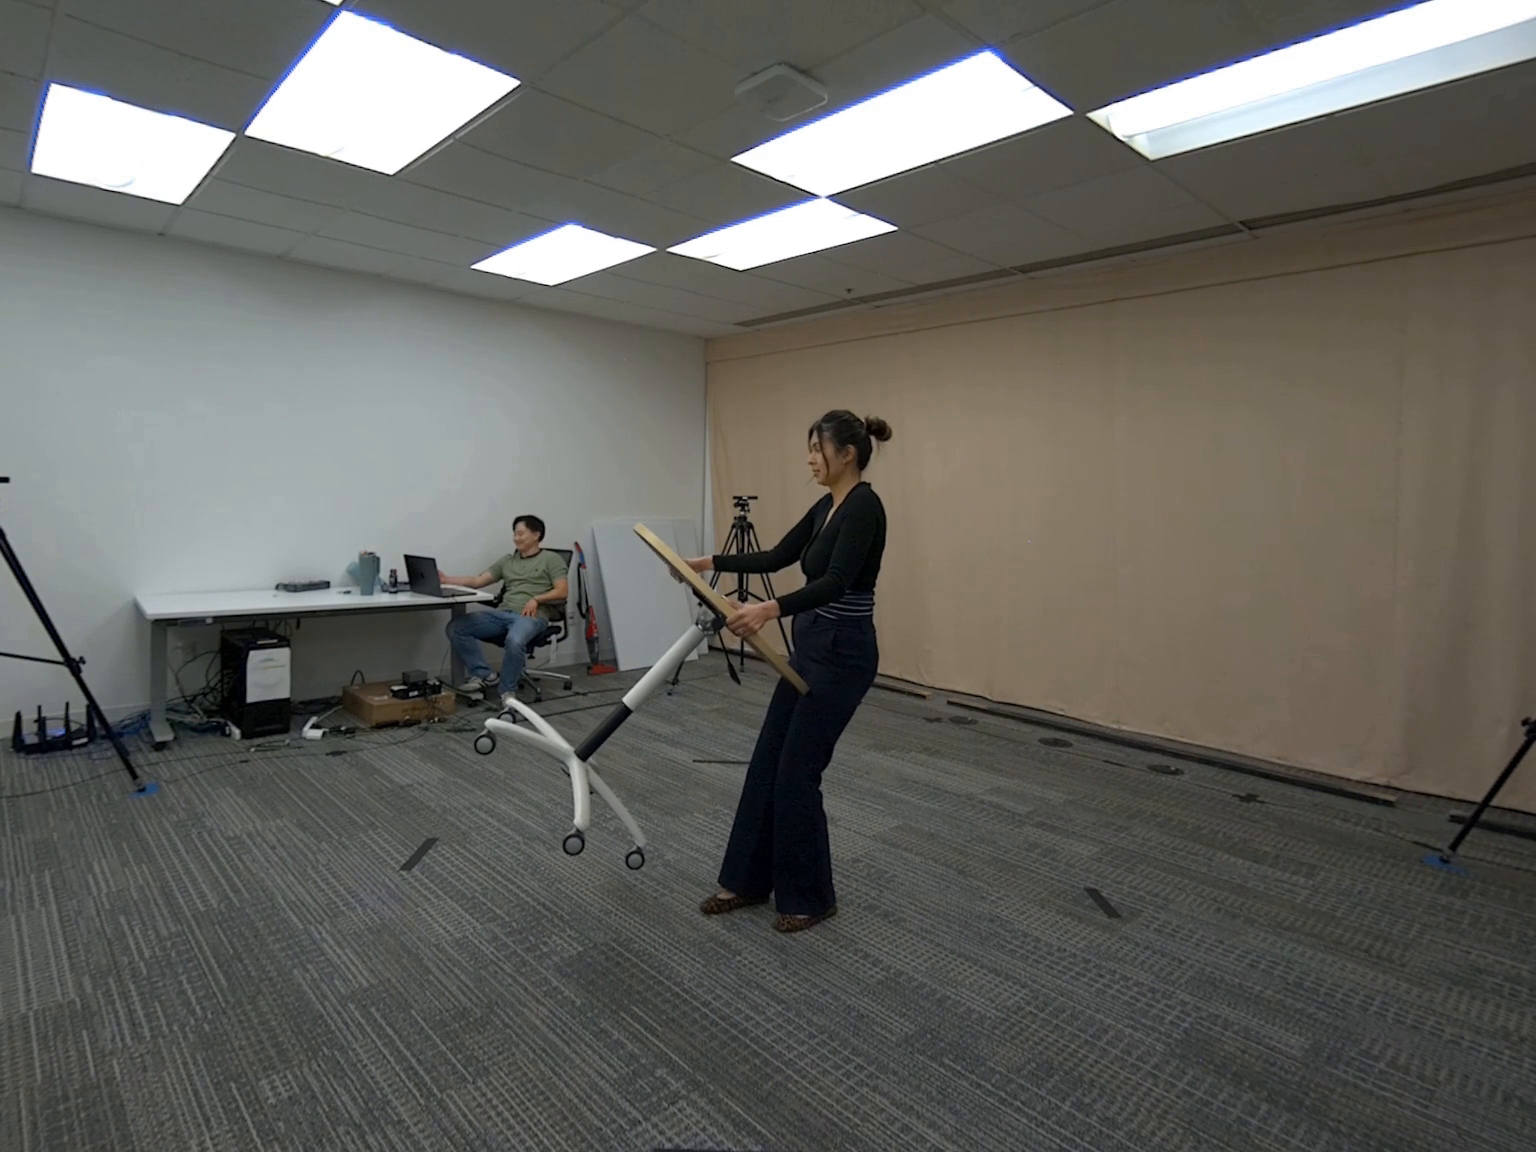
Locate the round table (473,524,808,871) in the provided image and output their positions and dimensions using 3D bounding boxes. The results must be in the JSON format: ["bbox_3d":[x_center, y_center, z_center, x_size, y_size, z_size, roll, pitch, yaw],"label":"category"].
[{"bbox_3d":[-0.428,0.390,2.678,0.768,0.794,0.760,43,-6,3],"label":"round table"}]
